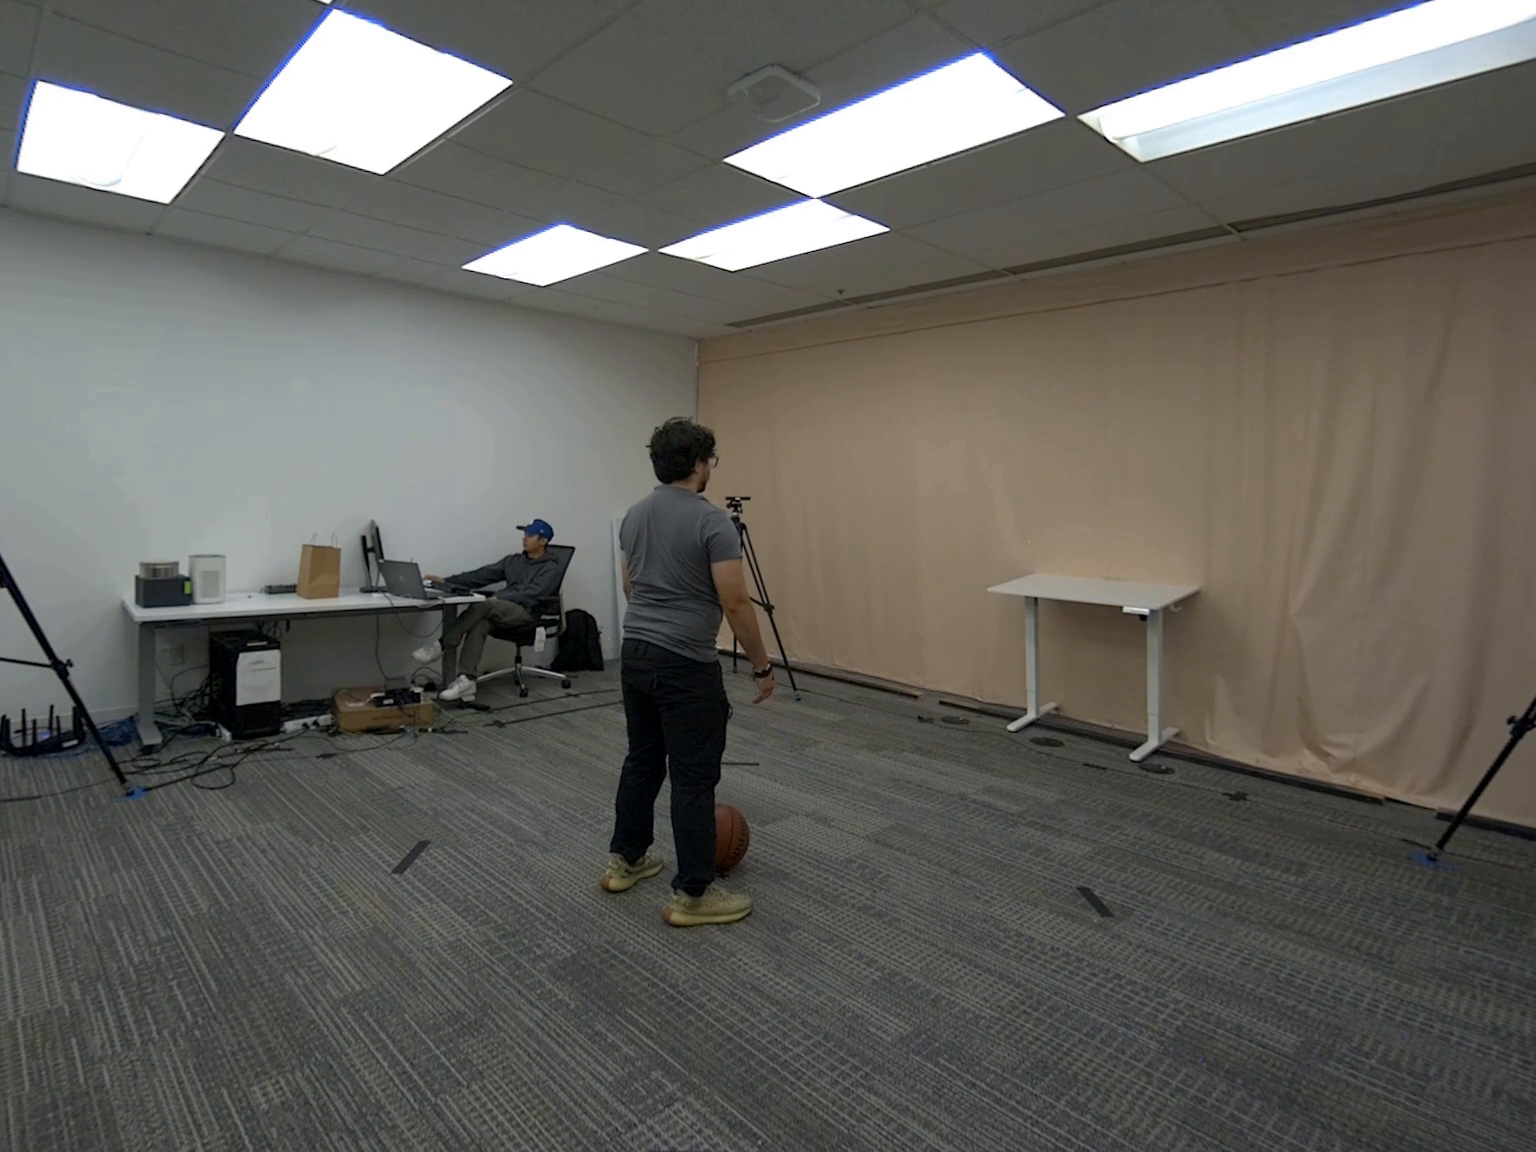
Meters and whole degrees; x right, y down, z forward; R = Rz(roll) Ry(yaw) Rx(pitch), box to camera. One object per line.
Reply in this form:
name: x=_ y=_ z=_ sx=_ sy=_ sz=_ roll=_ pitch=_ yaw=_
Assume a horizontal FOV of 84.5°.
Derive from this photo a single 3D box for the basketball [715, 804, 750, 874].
basketball: x=-0.191 y=0.978 z=3.164 sx=0.236 sy=0.235 sz=0.237 roll=1 pitch=4 yaw=-1
